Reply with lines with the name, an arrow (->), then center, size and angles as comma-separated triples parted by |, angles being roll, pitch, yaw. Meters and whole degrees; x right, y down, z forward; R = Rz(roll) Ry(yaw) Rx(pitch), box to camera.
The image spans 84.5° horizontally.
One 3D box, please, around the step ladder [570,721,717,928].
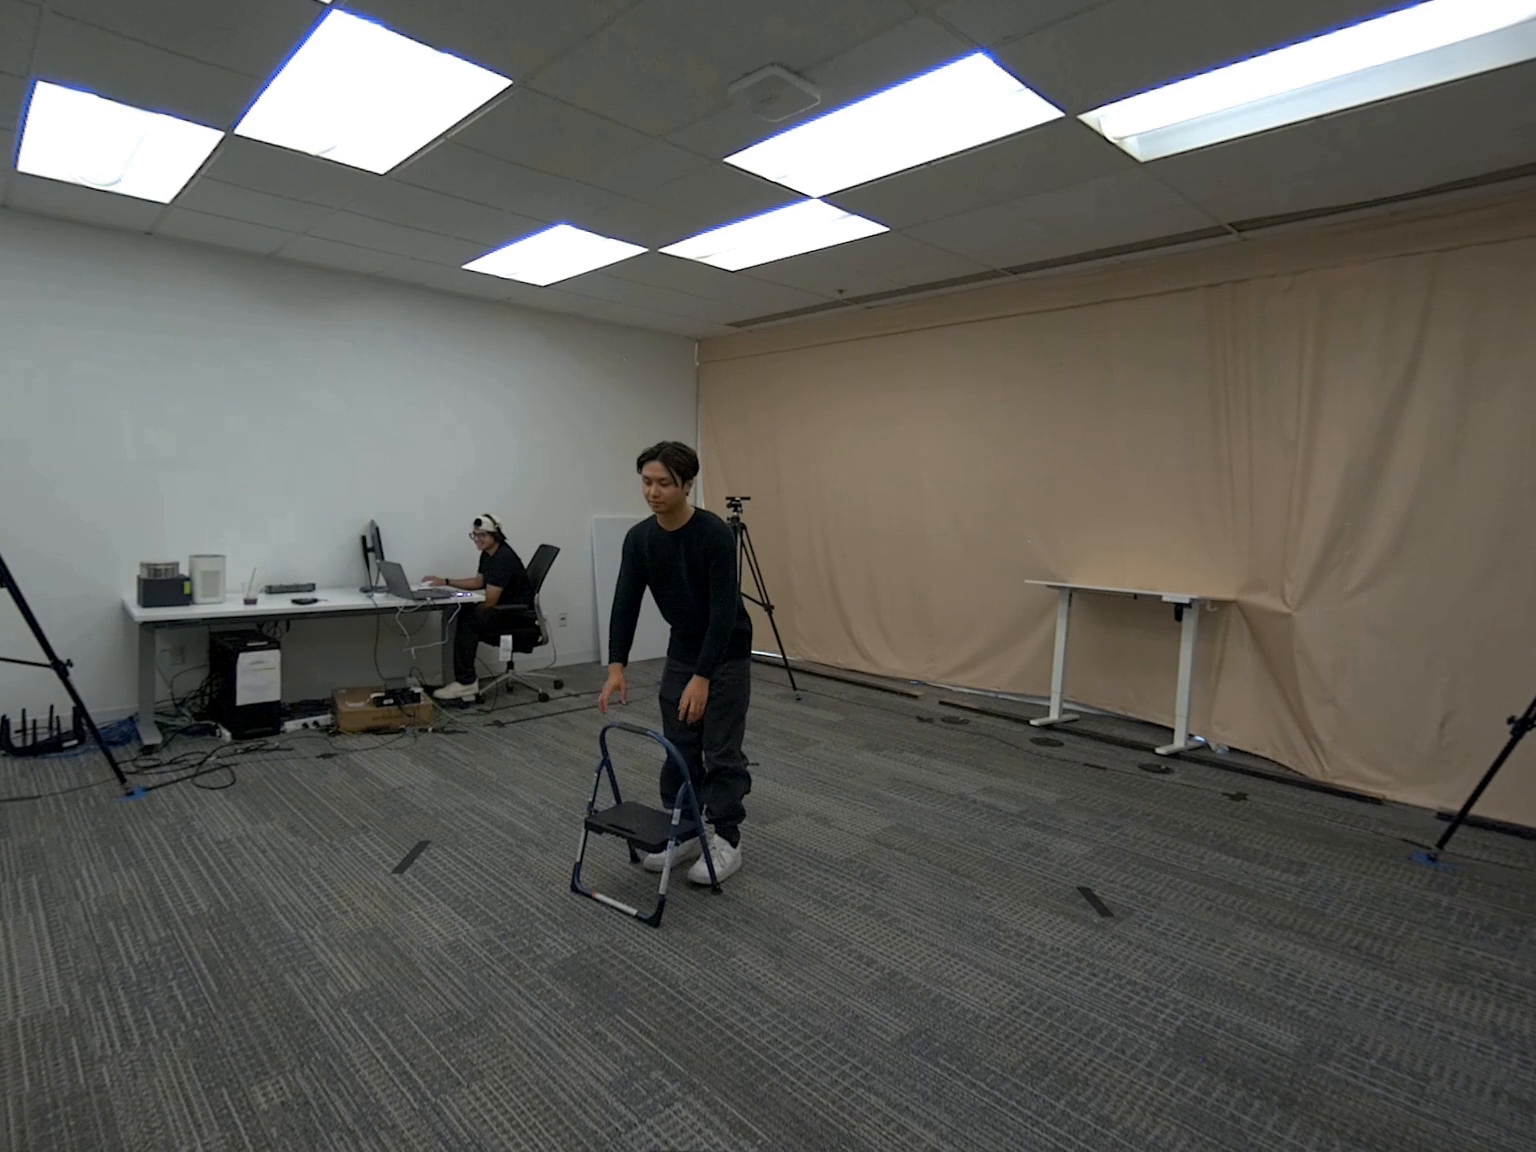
step ladder -> -0.435, 0.812, 2.949 | 0.441, 0.604, 0.342 | 4, 5, 36
